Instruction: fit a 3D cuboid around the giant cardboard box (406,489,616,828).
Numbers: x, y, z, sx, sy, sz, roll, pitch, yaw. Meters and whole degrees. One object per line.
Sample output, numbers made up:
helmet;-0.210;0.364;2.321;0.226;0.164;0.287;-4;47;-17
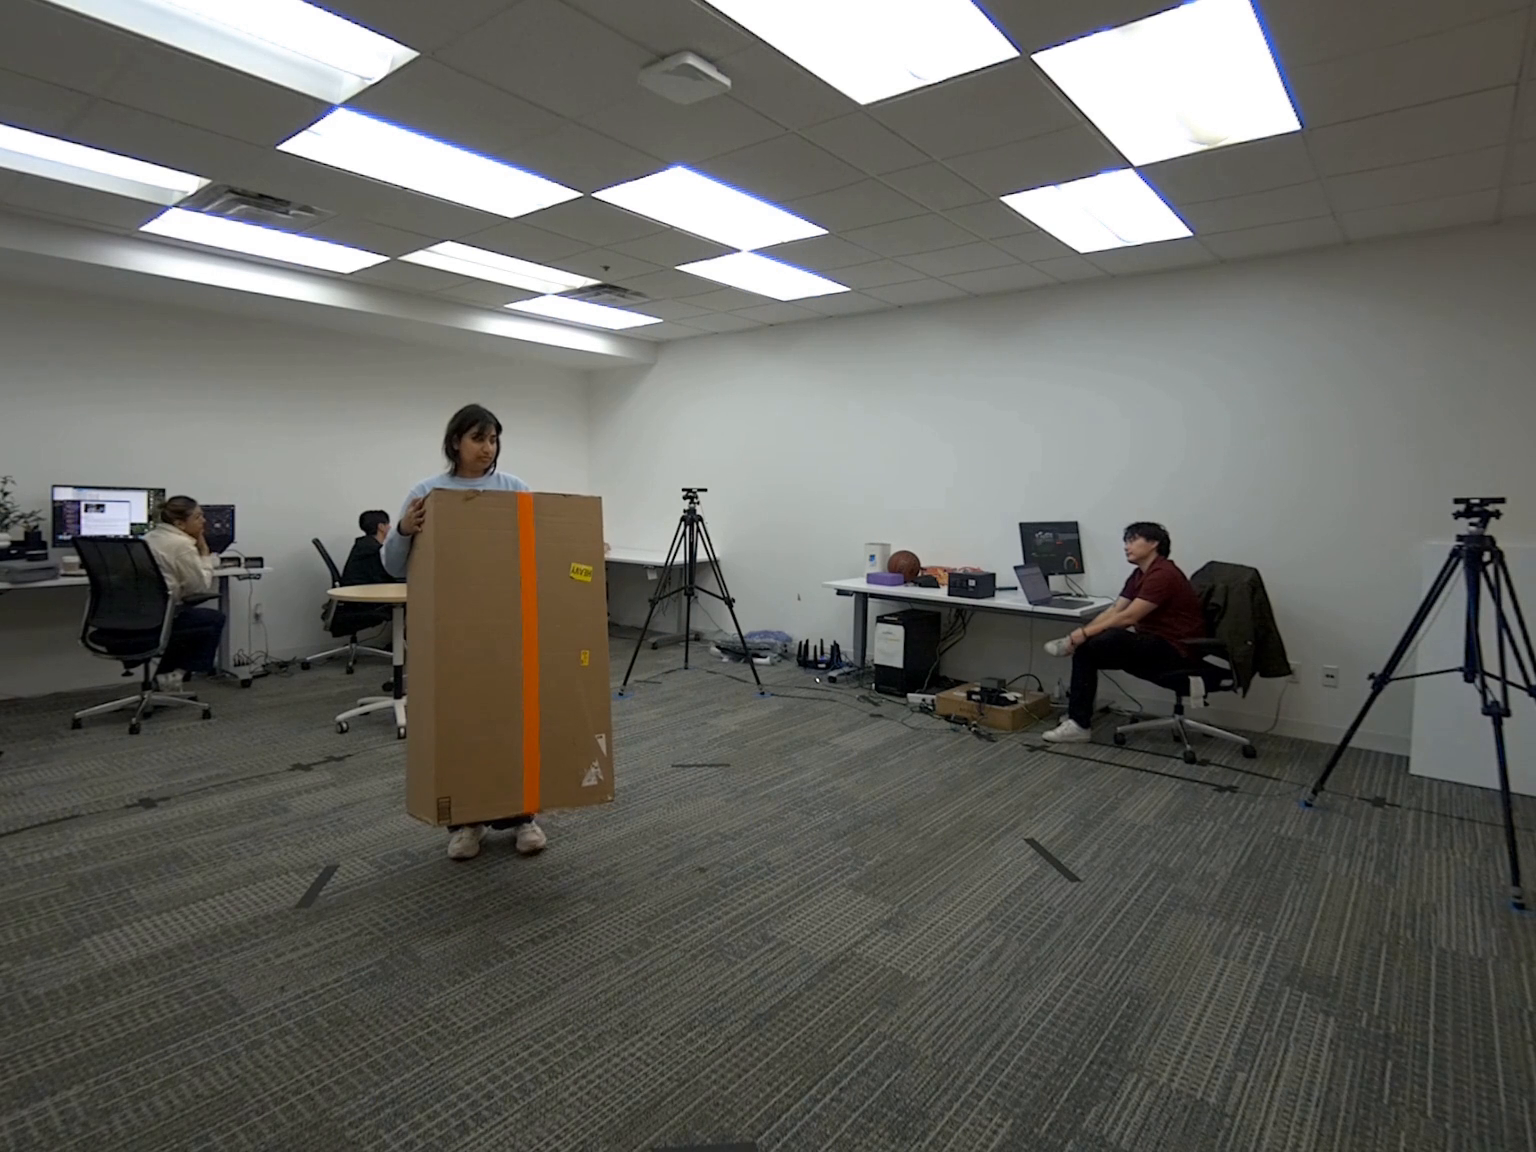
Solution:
giant cardboard box;-0.890;0.262;2.874;0.560;1.036;0.435;2;-11;-33
